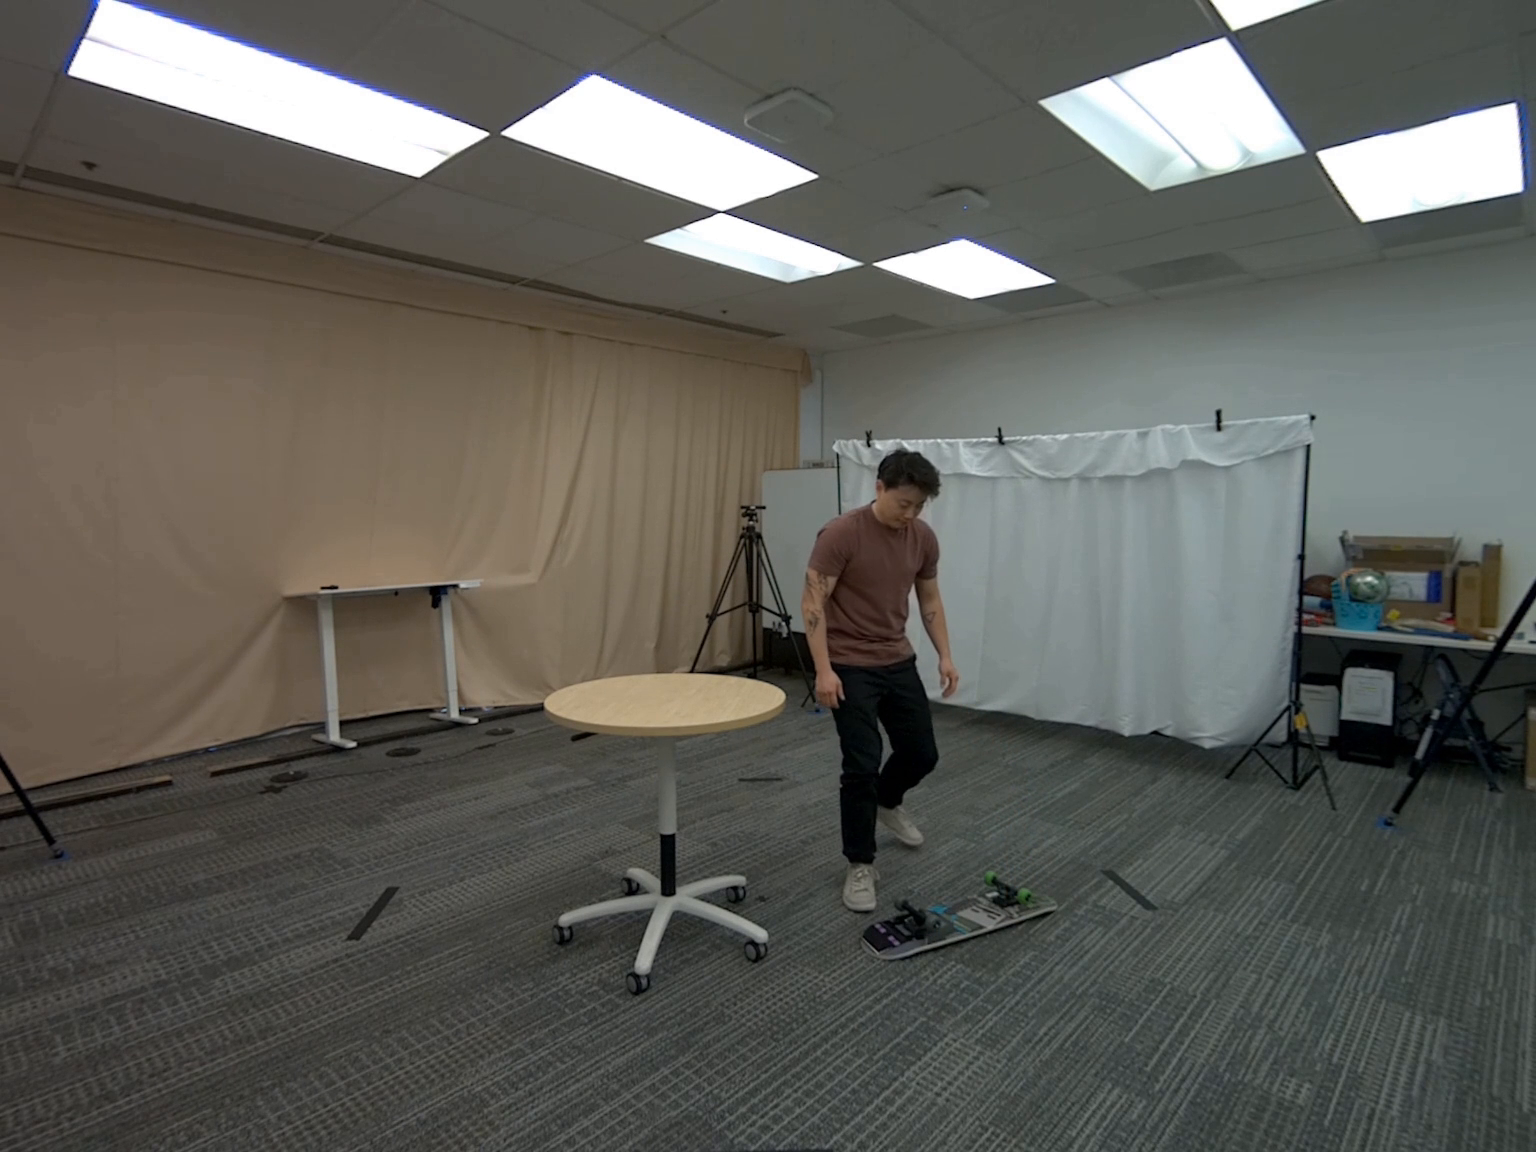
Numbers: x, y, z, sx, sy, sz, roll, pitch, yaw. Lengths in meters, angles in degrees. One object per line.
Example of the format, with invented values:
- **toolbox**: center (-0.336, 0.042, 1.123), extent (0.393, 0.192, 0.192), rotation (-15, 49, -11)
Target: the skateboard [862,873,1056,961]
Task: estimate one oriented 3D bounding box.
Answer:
- **skateboard**: center (0.651, 1.096, 2.794), extent (0.765, 0.110, 0.199), rotation (-2, 5, -28)
